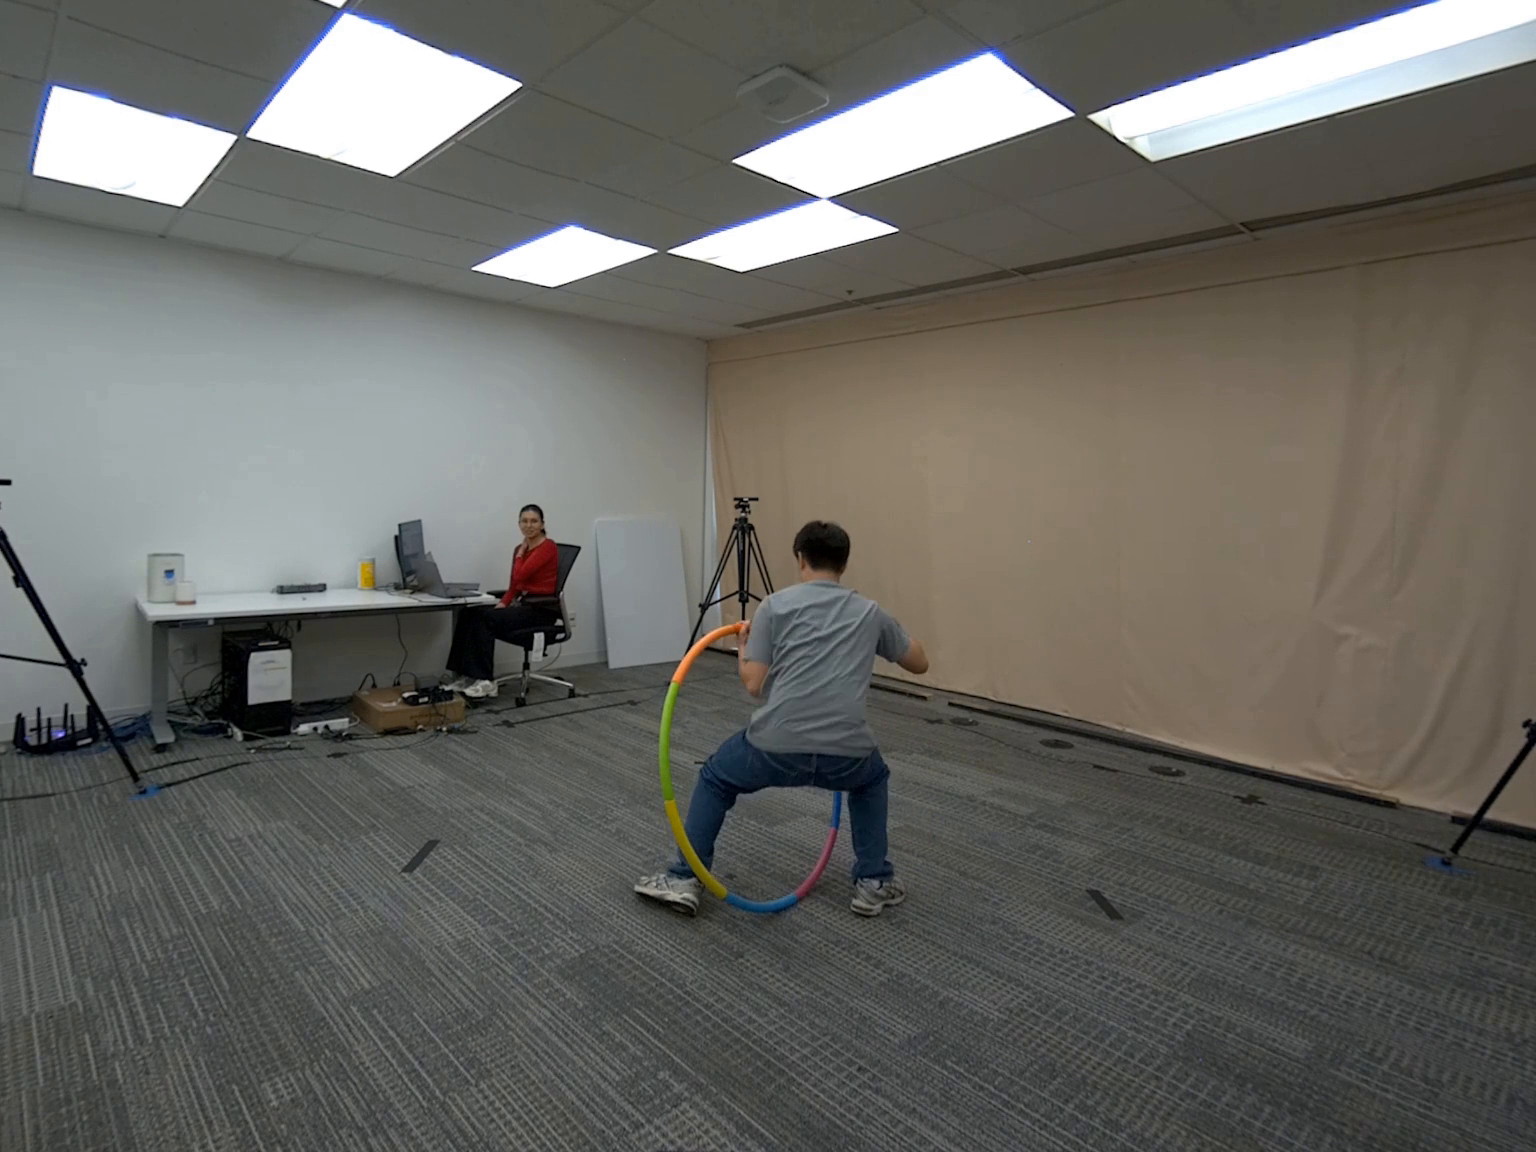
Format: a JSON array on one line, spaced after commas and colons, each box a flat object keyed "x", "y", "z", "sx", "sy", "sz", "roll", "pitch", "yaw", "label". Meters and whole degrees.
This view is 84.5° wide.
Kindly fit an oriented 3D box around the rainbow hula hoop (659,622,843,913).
[{"x": -0.035, "y": 0.653, "z": 2.974, "sx": 0.036, "sy": 0.985, "sz": 0.958, "roll": -19, "pitch": -9, "yaw": 36, "label": "rainbow hula hoop"}]
